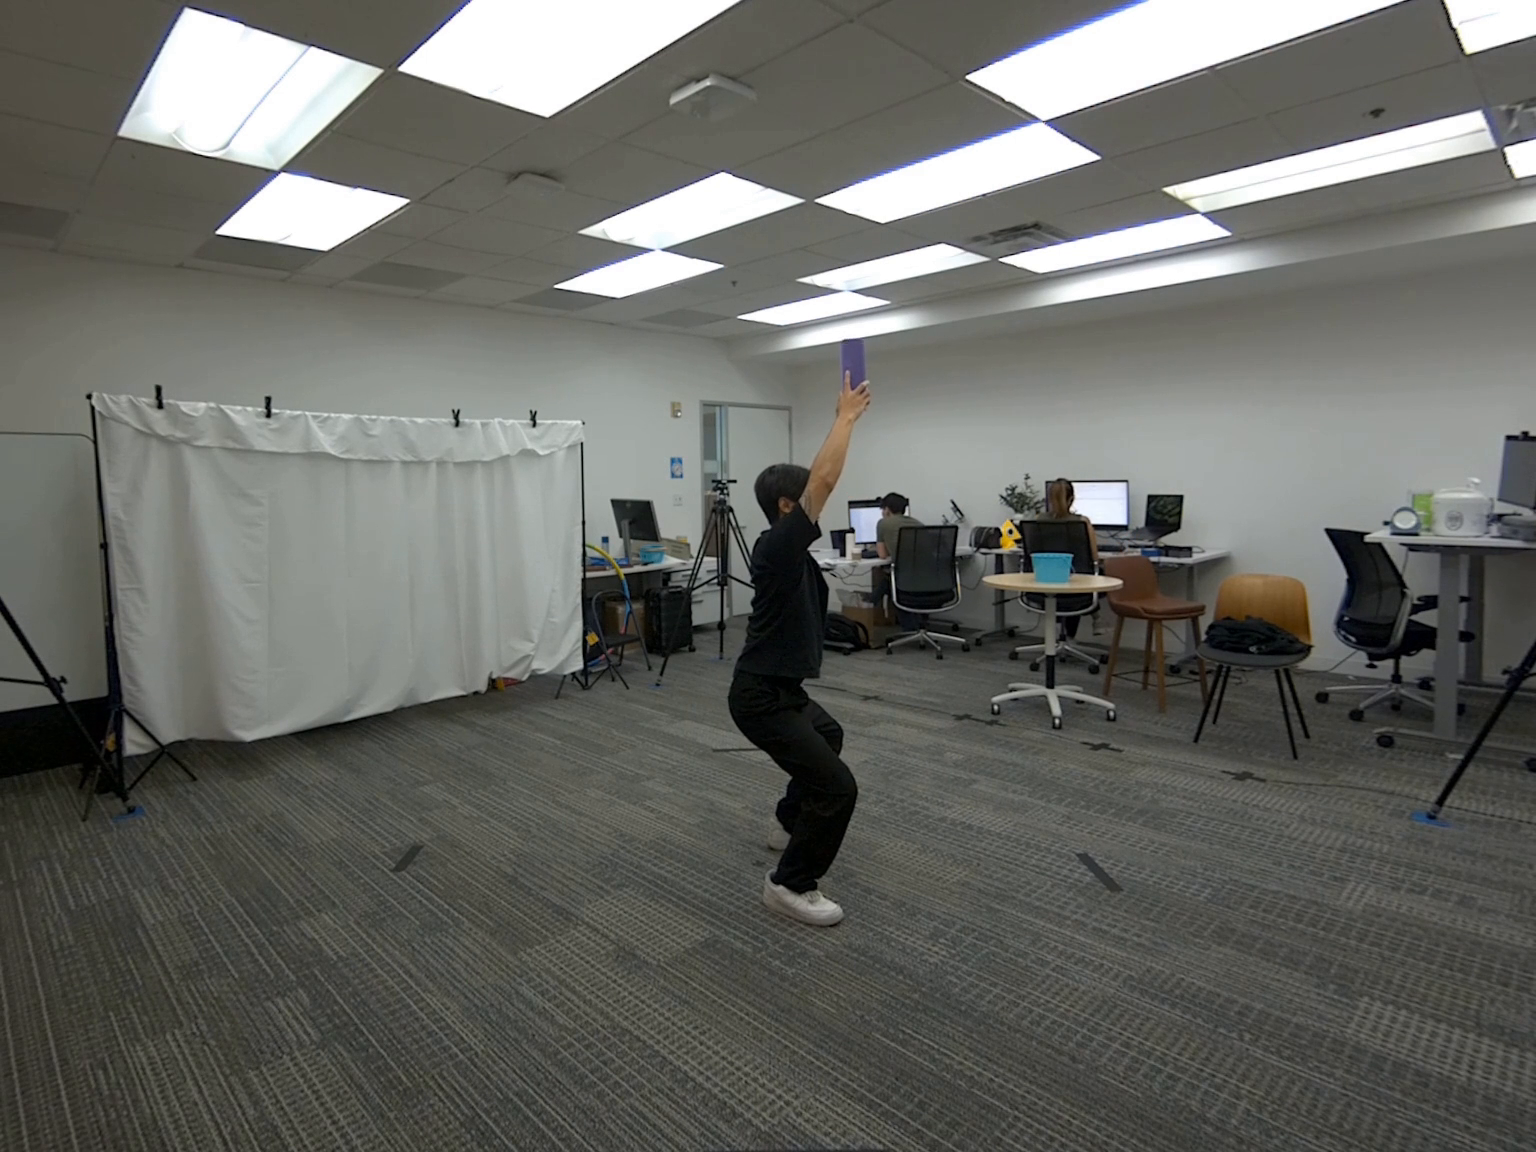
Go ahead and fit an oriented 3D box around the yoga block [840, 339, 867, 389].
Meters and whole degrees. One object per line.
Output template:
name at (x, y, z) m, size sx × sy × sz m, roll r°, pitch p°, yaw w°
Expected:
yoga block at (0.301, -0.681, 2.920) m, size 0.077 × 0.230 × 0.148 m, roll -1°, pitch -1°, yaw 2°
